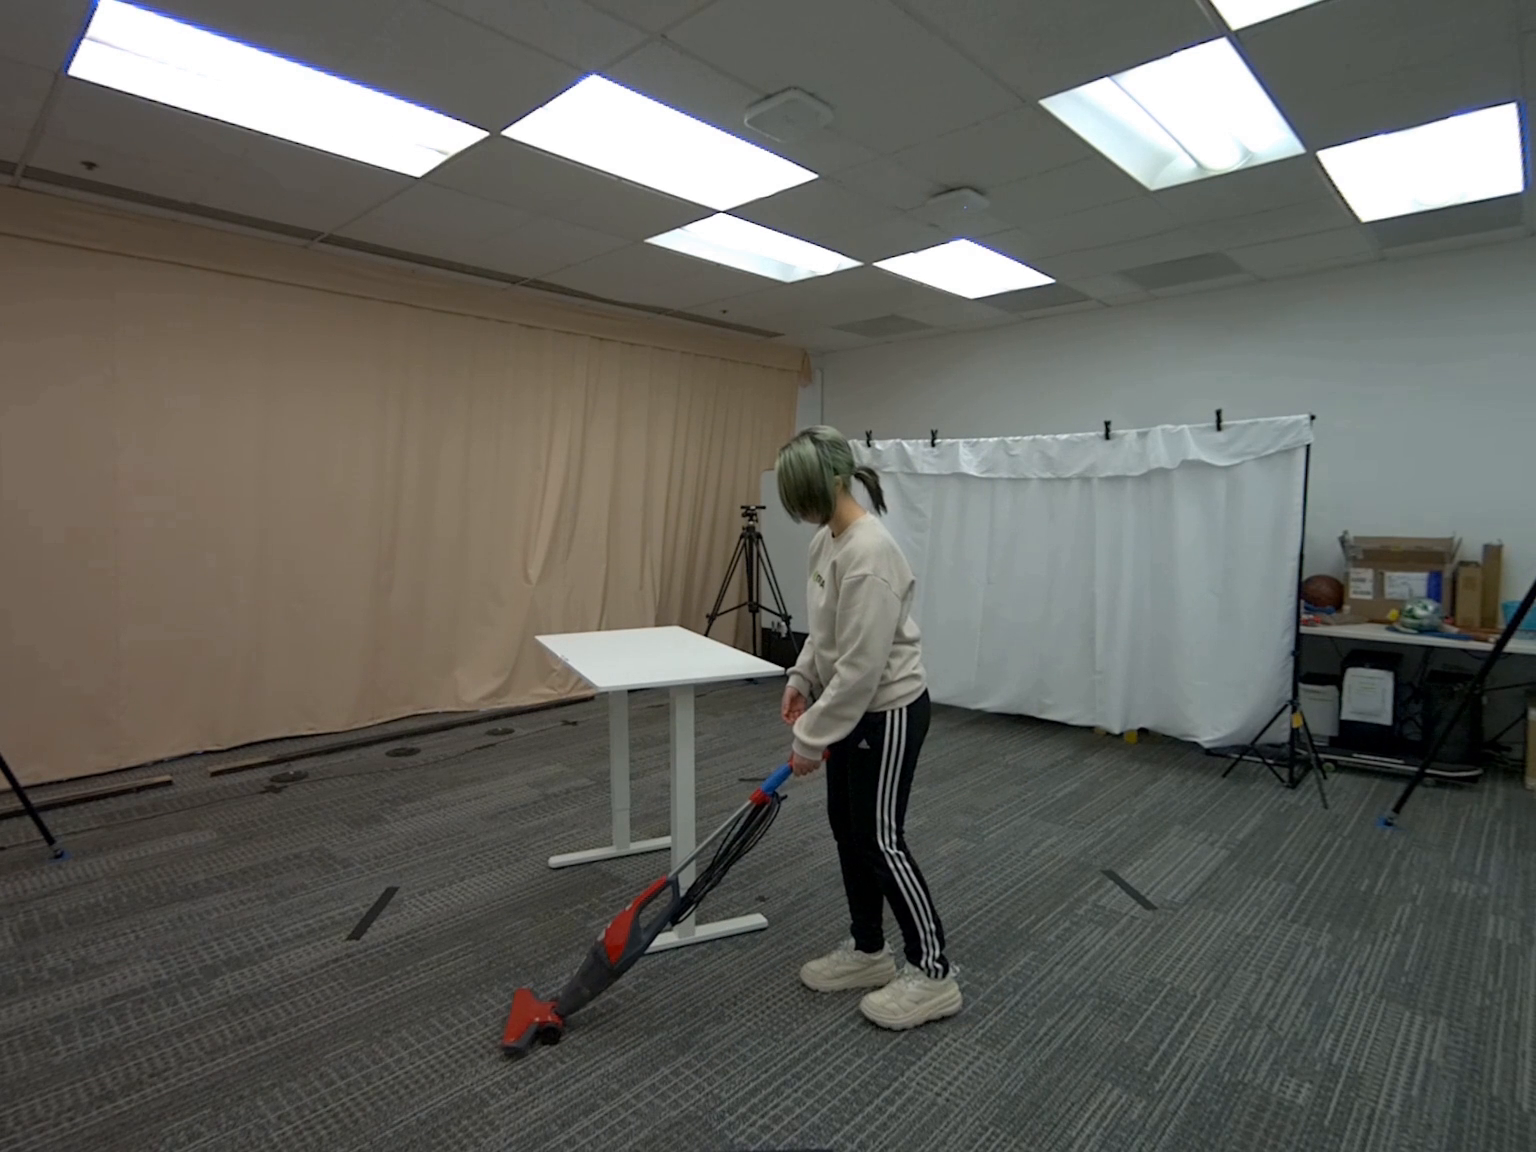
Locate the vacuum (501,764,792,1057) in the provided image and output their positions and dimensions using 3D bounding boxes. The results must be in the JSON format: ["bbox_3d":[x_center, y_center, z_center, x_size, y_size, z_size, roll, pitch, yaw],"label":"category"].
[{"bbox_3d":[-0.228,0.842,2.252,1.047,0.143,0.255,-42,9,-5],"label":"vacuum"}]
